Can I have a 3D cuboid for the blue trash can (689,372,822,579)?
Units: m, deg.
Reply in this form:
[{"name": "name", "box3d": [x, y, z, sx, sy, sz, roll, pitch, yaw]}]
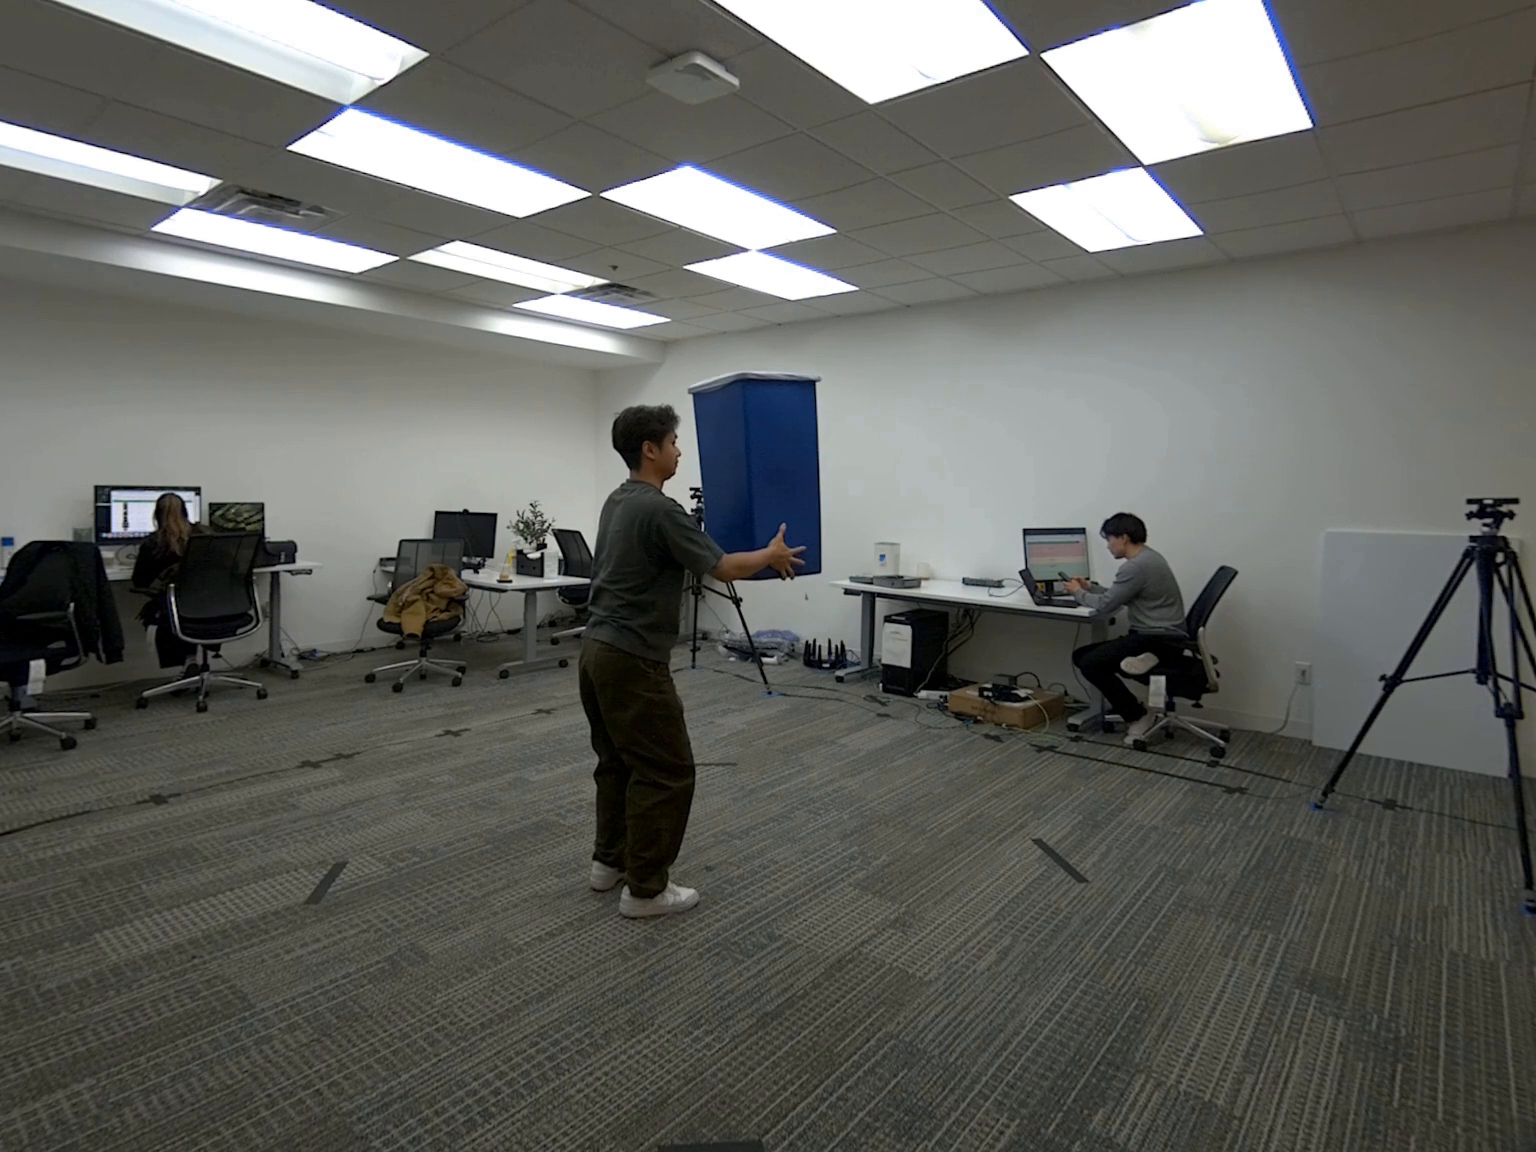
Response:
[{"name": "blue trash can", "box3d": [-0.046, -0.363, 3.113, 0.368, 0.712, 0.385, -5, 3, -36]}]
